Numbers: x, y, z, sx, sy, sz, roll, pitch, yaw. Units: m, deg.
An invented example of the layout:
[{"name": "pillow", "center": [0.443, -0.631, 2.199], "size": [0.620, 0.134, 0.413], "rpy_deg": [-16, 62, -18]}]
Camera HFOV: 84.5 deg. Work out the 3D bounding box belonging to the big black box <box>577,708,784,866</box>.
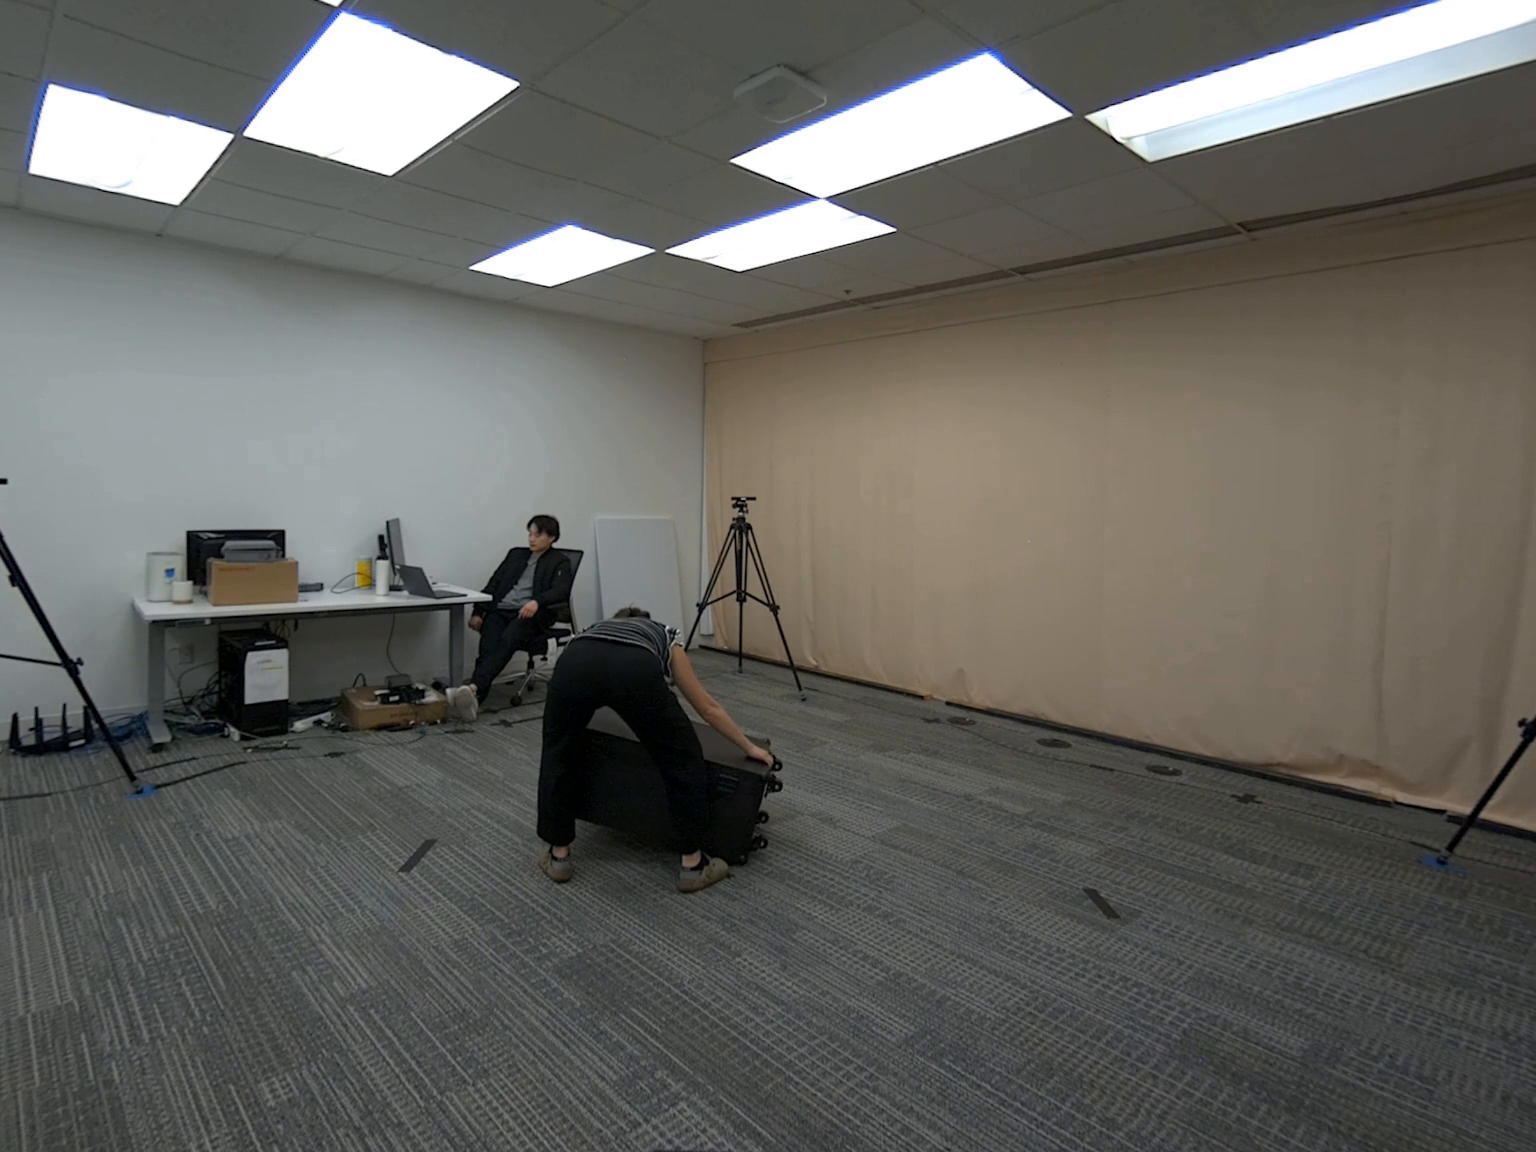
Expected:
[{"name": "big black box", "center": [-0.386, 0.817, 3.430], "size": [0.863, 0.395, 0.522], "rpy_deg": [14, 6, 1]}]
